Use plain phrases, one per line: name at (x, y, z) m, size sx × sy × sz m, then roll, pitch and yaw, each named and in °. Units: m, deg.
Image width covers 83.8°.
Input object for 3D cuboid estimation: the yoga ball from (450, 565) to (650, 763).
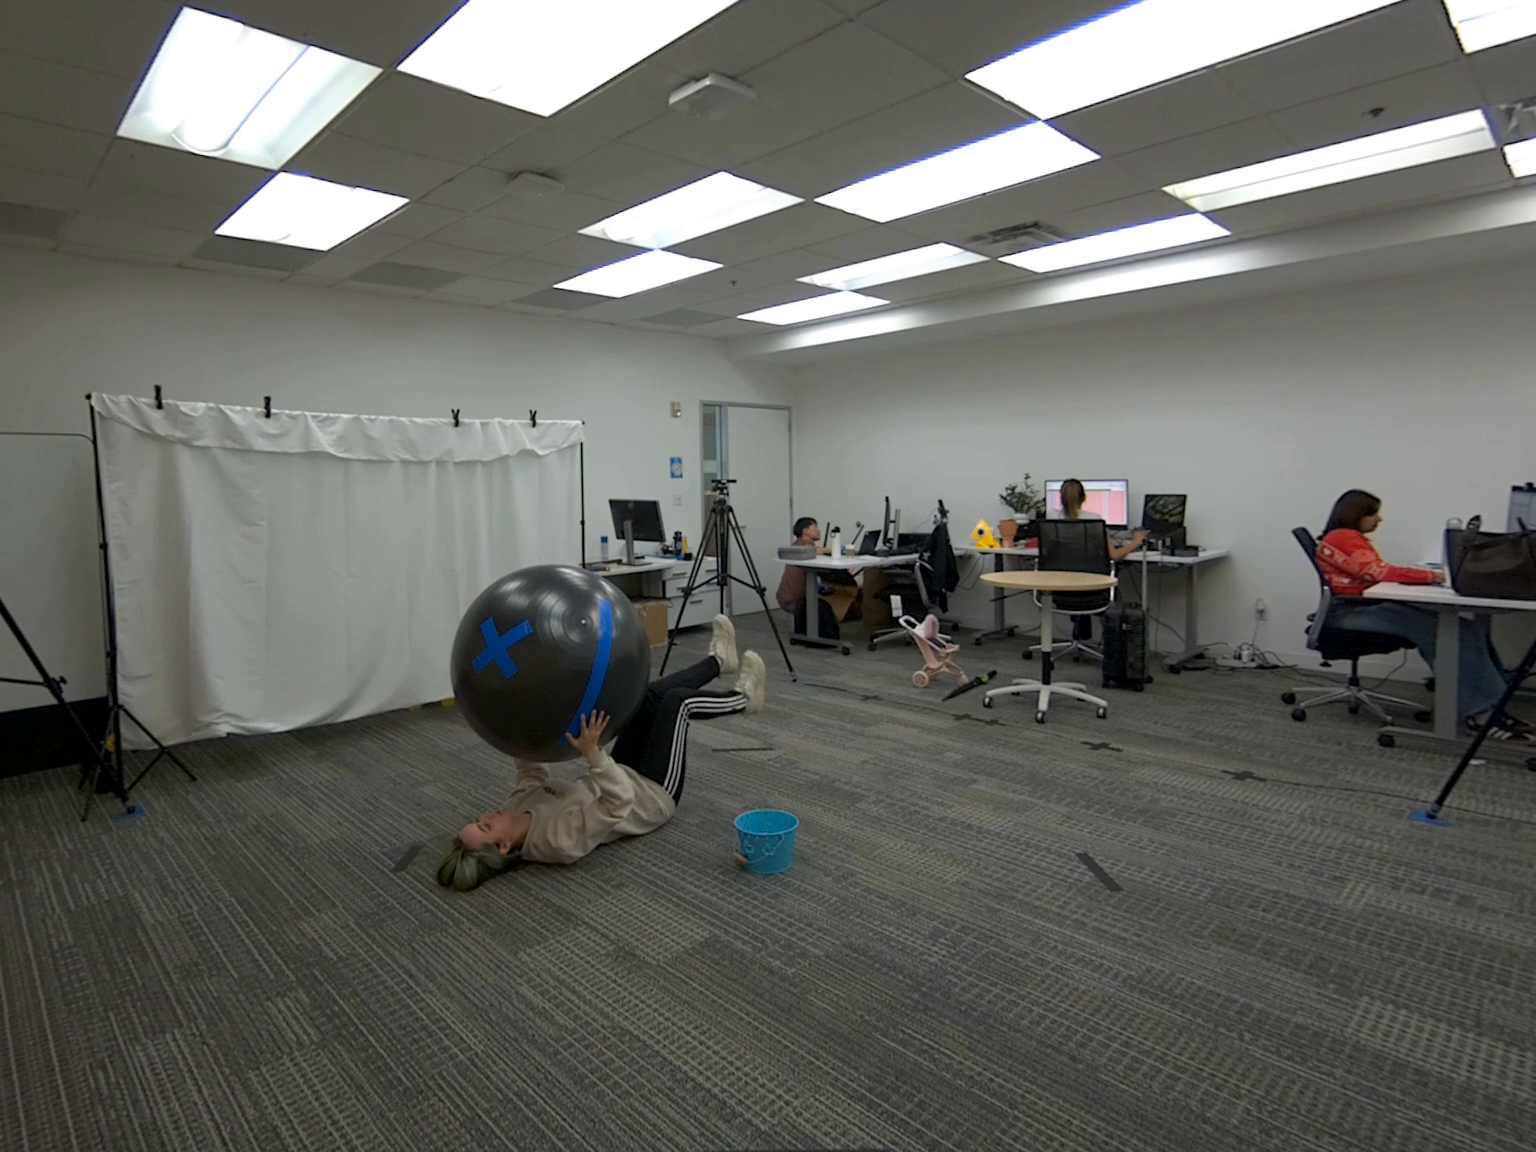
yoga ball at (-0.837, 0.336, 3.308) m, size 0.757 × 0.755 × 0.762 m, roll -1°, pitch 5°, yaw -2°
